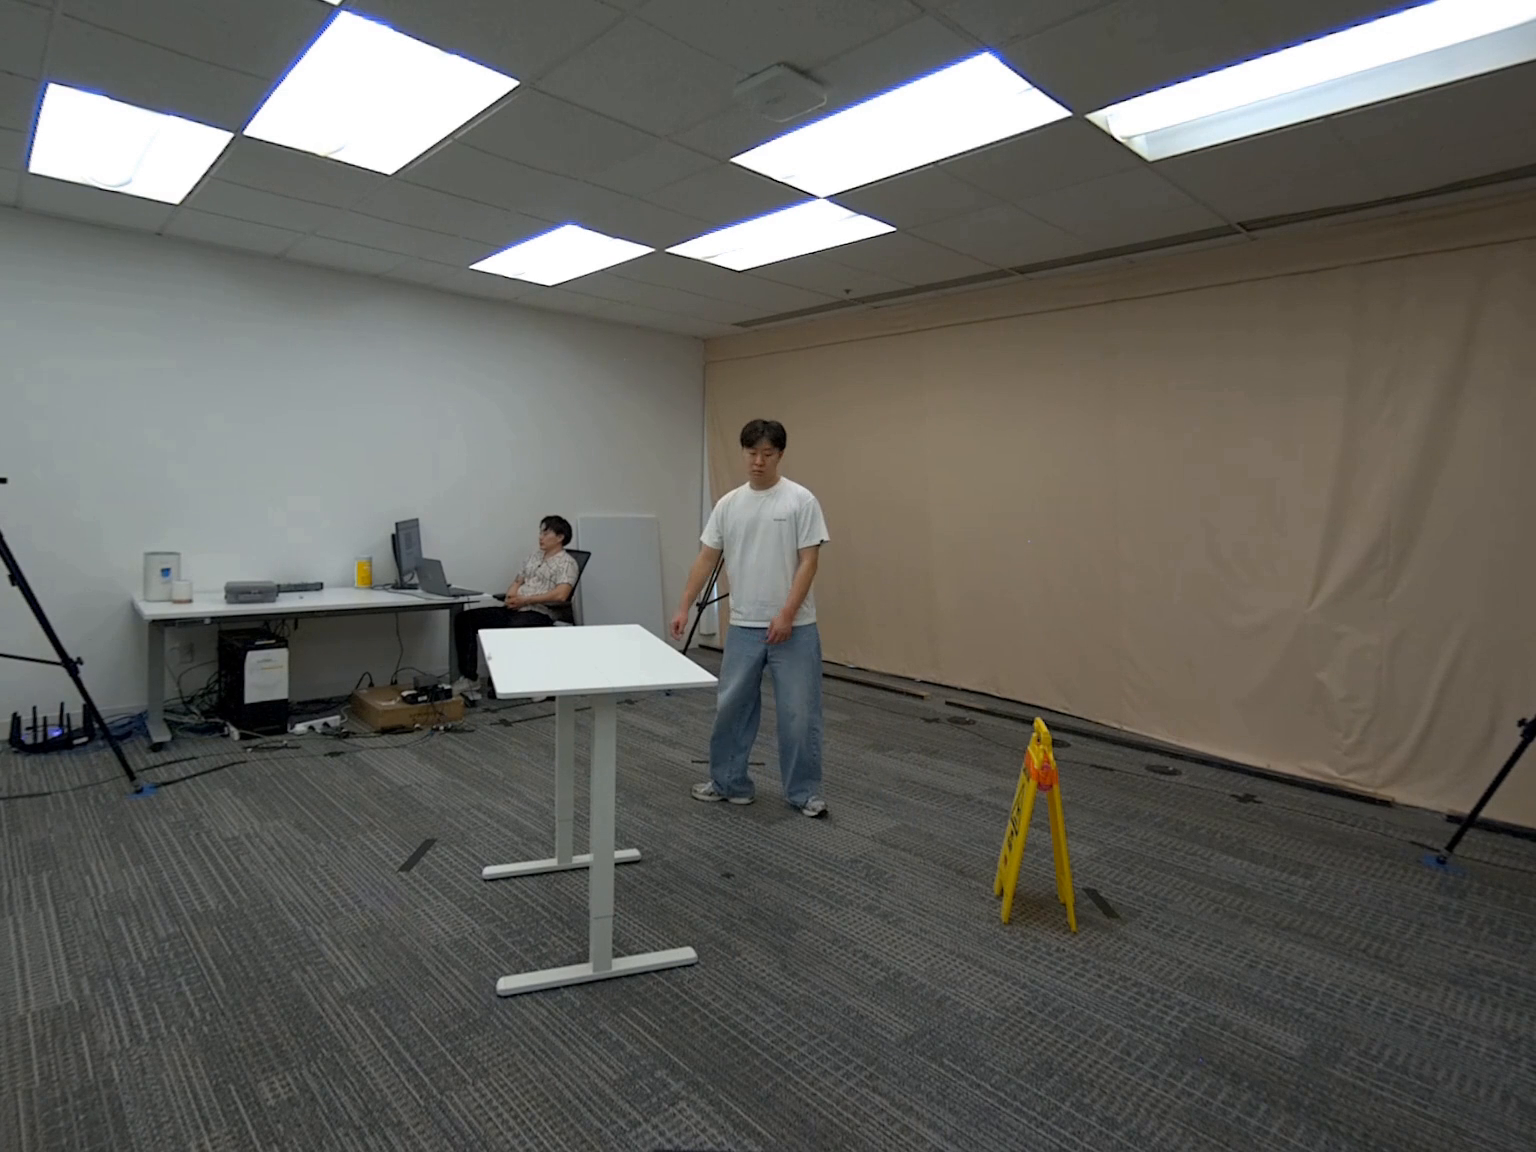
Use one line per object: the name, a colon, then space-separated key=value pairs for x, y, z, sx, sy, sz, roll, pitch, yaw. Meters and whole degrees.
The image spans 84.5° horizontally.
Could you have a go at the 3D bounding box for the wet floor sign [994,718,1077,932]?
wet floor sign: x=0.928 y=0.827 z=2.890 sx=0.292 sy=0.644 sz=0.281 roll=2 pitch=4 yaw=9
